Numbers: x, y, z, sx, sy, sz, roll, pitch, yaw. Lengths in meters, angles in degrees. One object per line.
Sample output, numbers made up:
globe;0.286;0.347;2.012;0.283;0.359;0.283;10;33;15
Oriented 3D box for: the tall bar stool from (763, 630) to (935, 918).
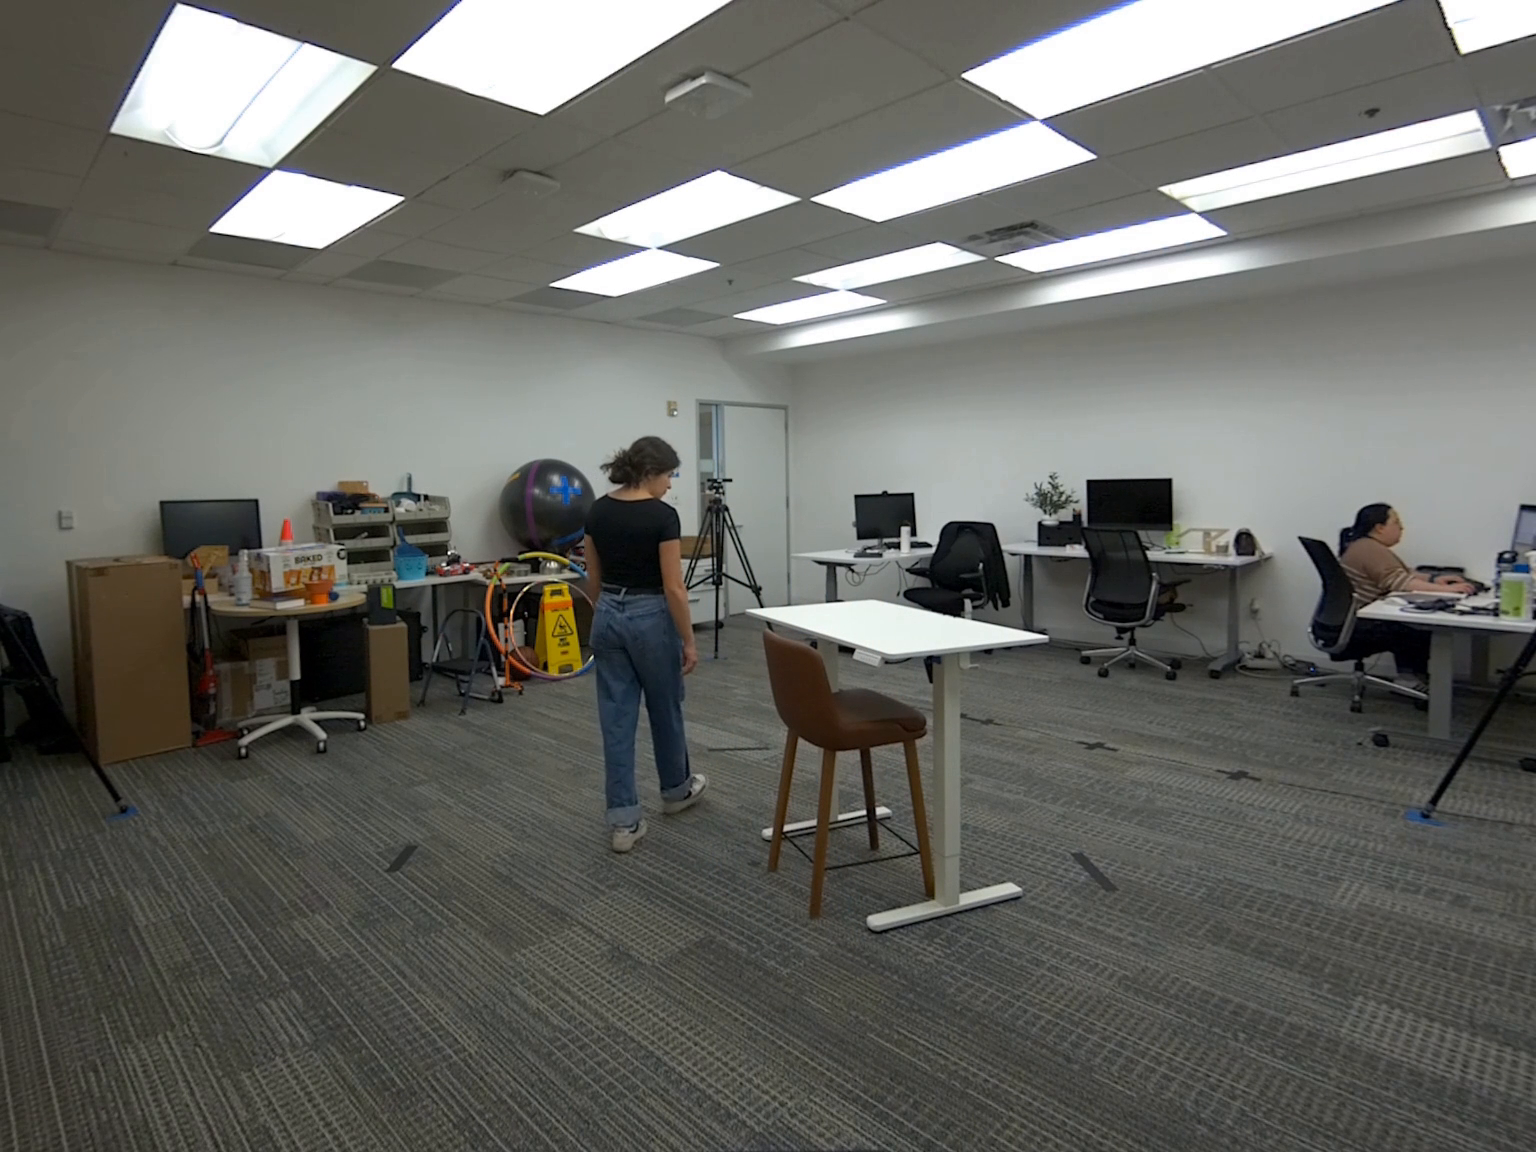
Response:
tall bar stool;0.266;0.632;2.923;0.459;0.886;0.467;-4;5;-21
